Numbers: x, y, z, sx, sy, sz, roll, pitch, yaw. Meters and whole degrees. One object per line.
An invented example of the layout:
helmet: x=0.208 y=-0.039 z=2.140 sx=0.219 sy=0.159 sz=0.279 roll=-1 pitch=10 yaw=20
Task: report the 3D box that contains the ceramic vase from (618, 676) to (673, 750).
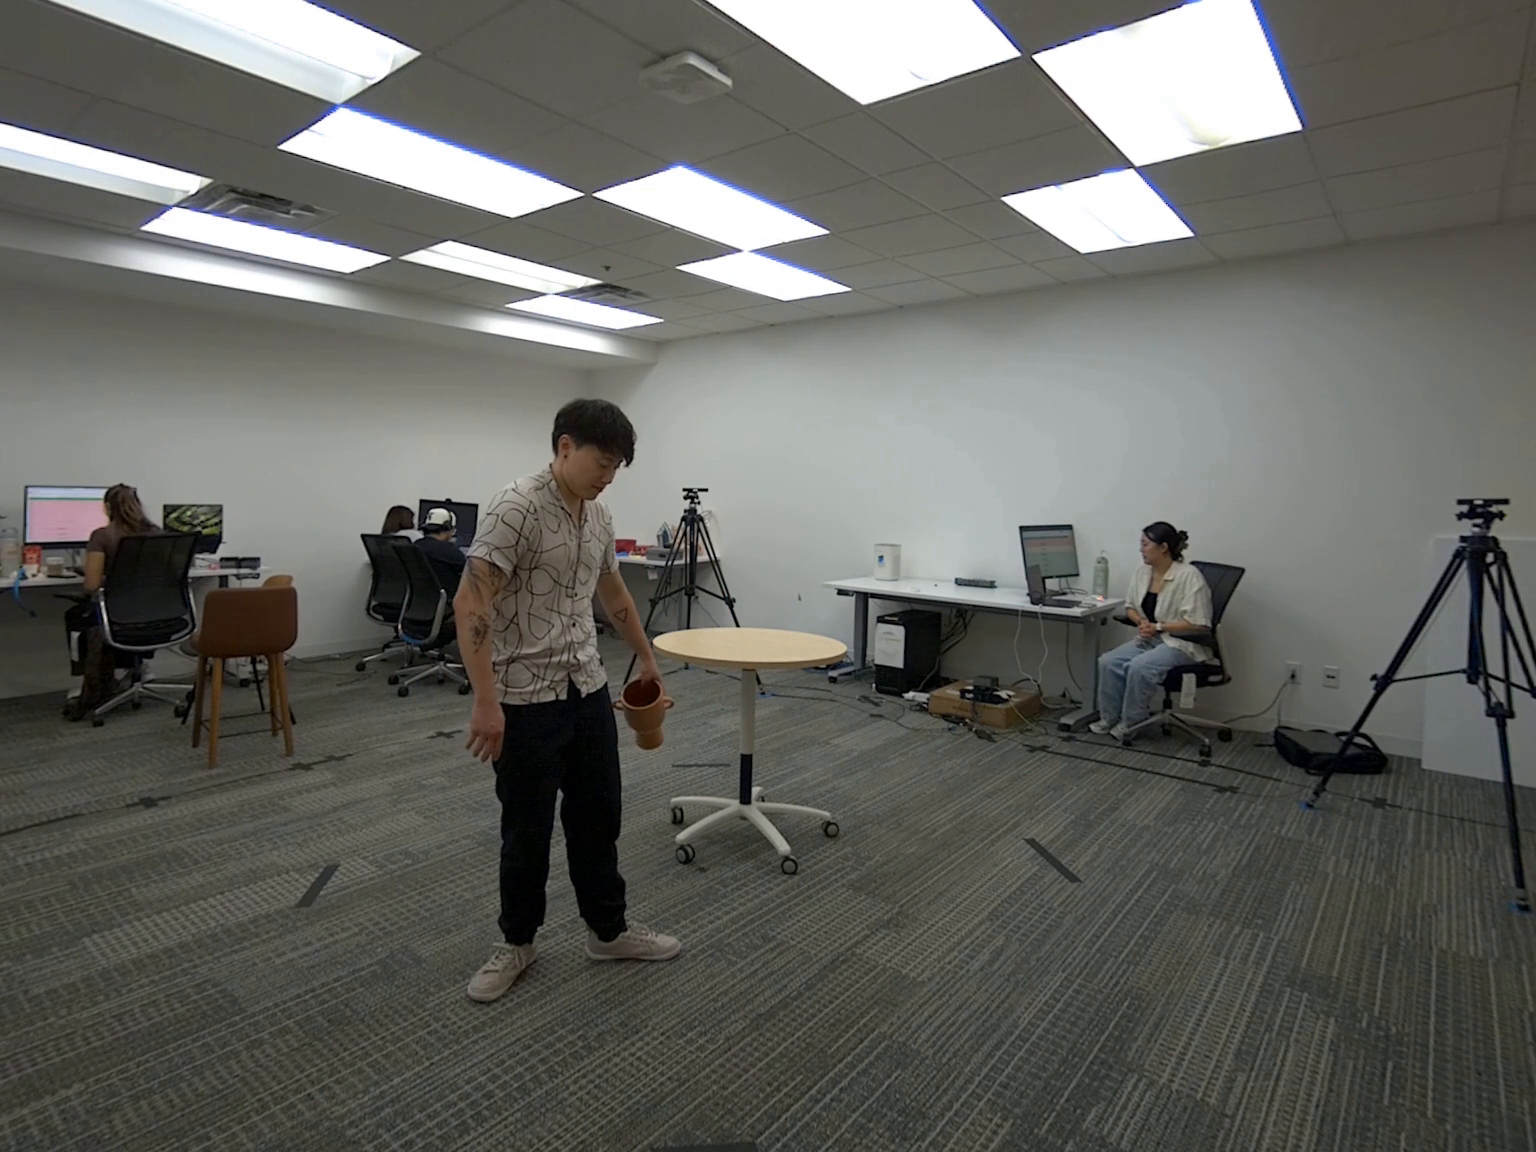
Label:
ceramic vase: x=-0.404 y=0.444 z=2.713 sx=0.165 sy=0.213 sz=0.133 roll=26 pitch=46 yaw=32
